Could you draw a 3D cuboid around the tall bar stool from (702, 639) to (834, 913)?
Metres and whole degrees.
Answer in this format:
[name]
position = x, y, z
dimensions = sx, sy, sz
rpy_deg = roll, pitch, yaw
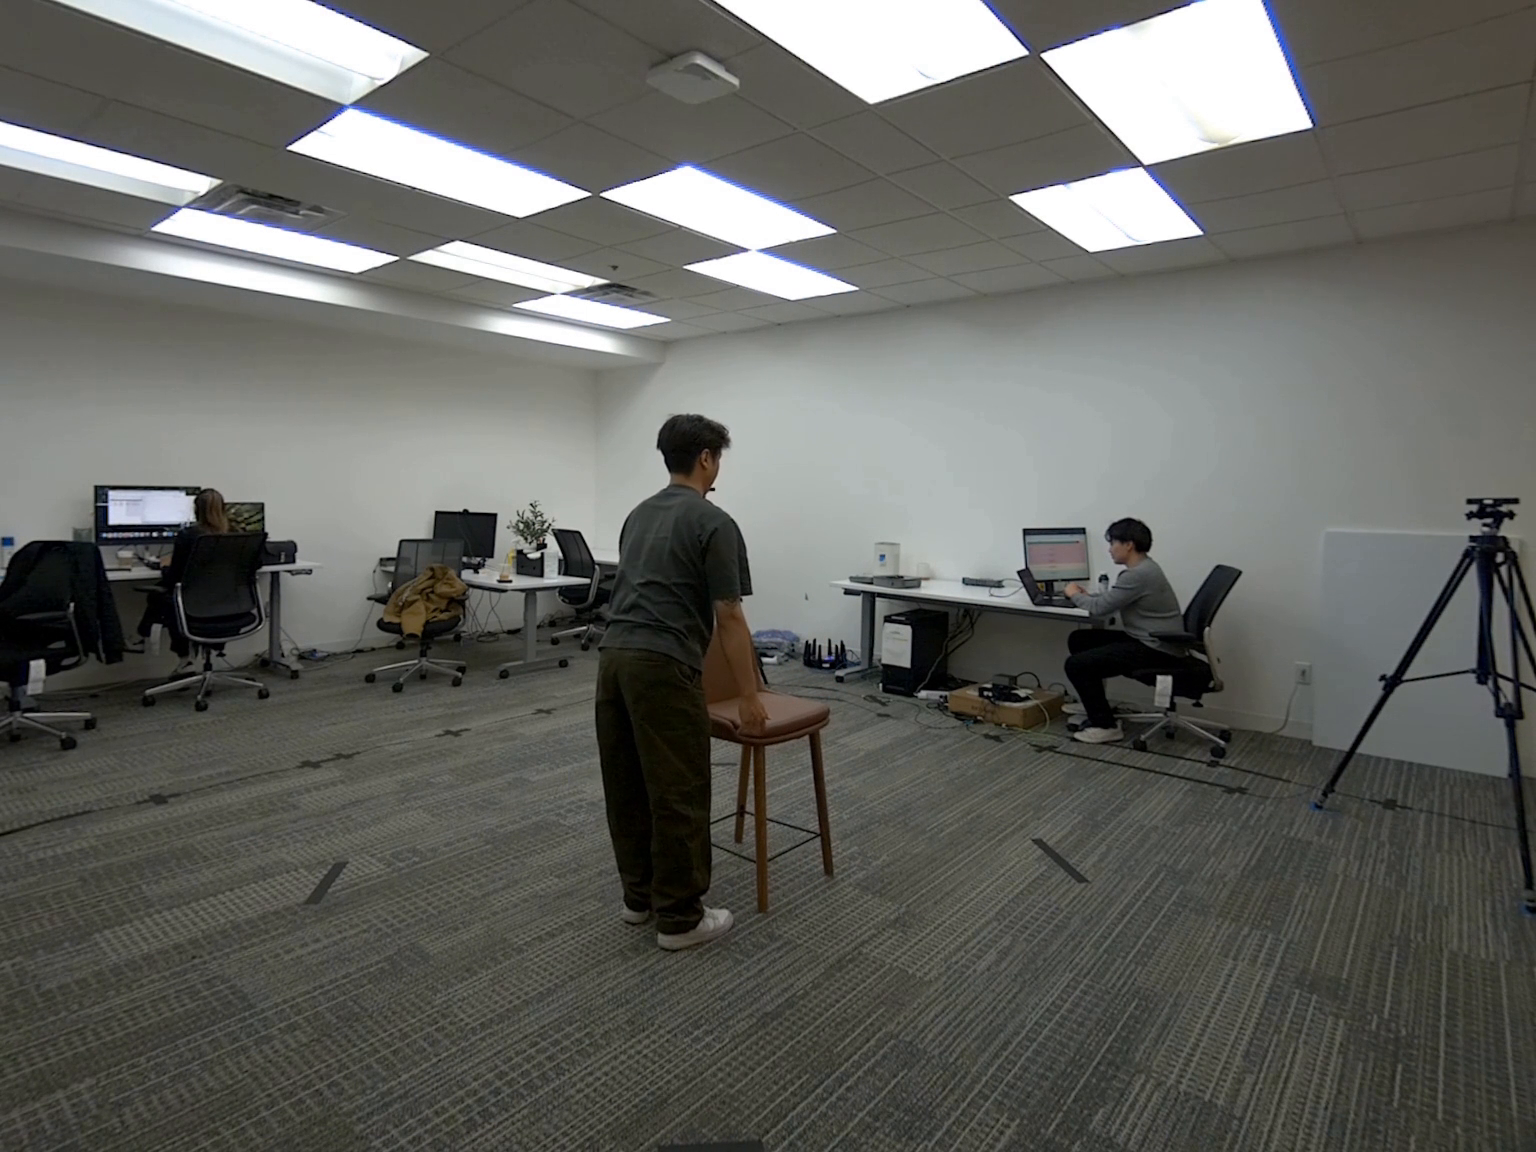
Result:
[tall bar stool]
position = -0.060, 0.638, 3.069
dimensions = 0.483, 0.889, 0.442
rpy_deg = 1, 2, 40
